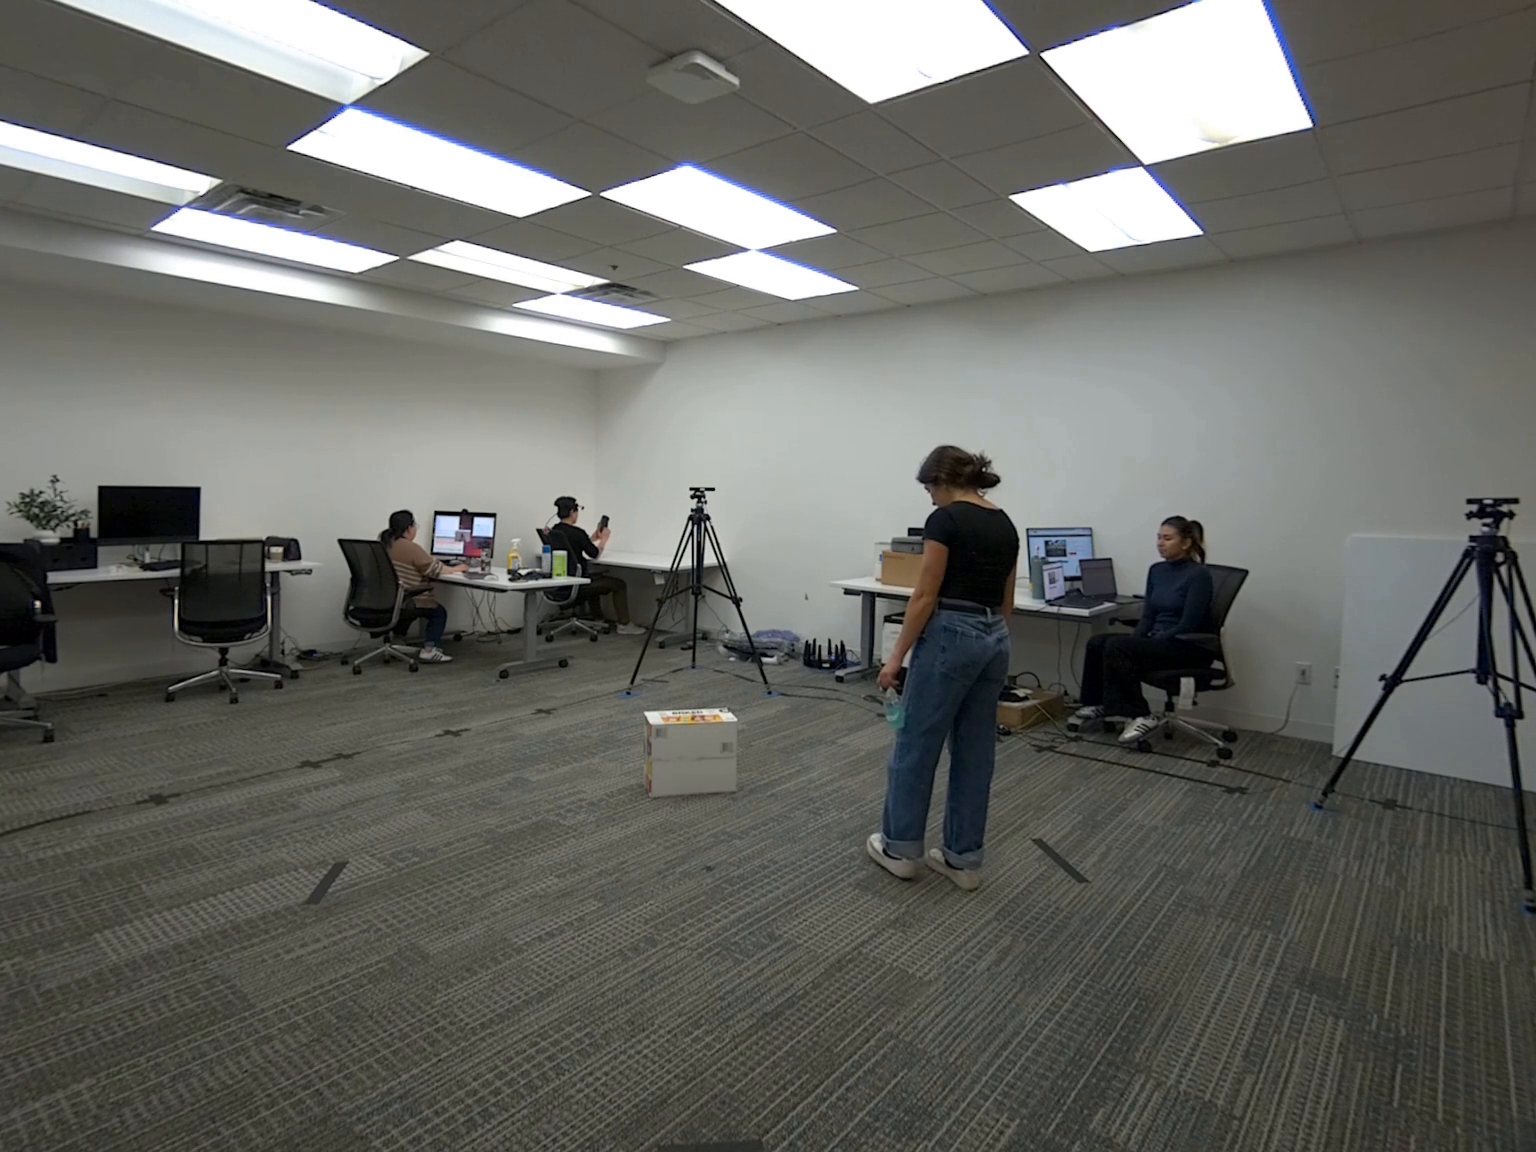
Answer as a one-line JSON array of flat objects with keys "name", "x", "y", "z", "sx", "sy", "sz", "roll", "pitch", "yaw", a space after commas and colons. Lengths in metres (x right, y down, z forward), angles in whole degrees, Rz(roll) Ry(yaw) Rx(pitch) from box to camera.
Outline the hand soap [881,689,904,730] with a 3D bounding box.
[{"name": "hand soap", "x": 0.440, "y": 0.454, "z": 3.024, "sx": 0.042, "sy": 0.168, "sz": 0.087, "roll": -6, "pitch": 2, "yaw": -37}]
